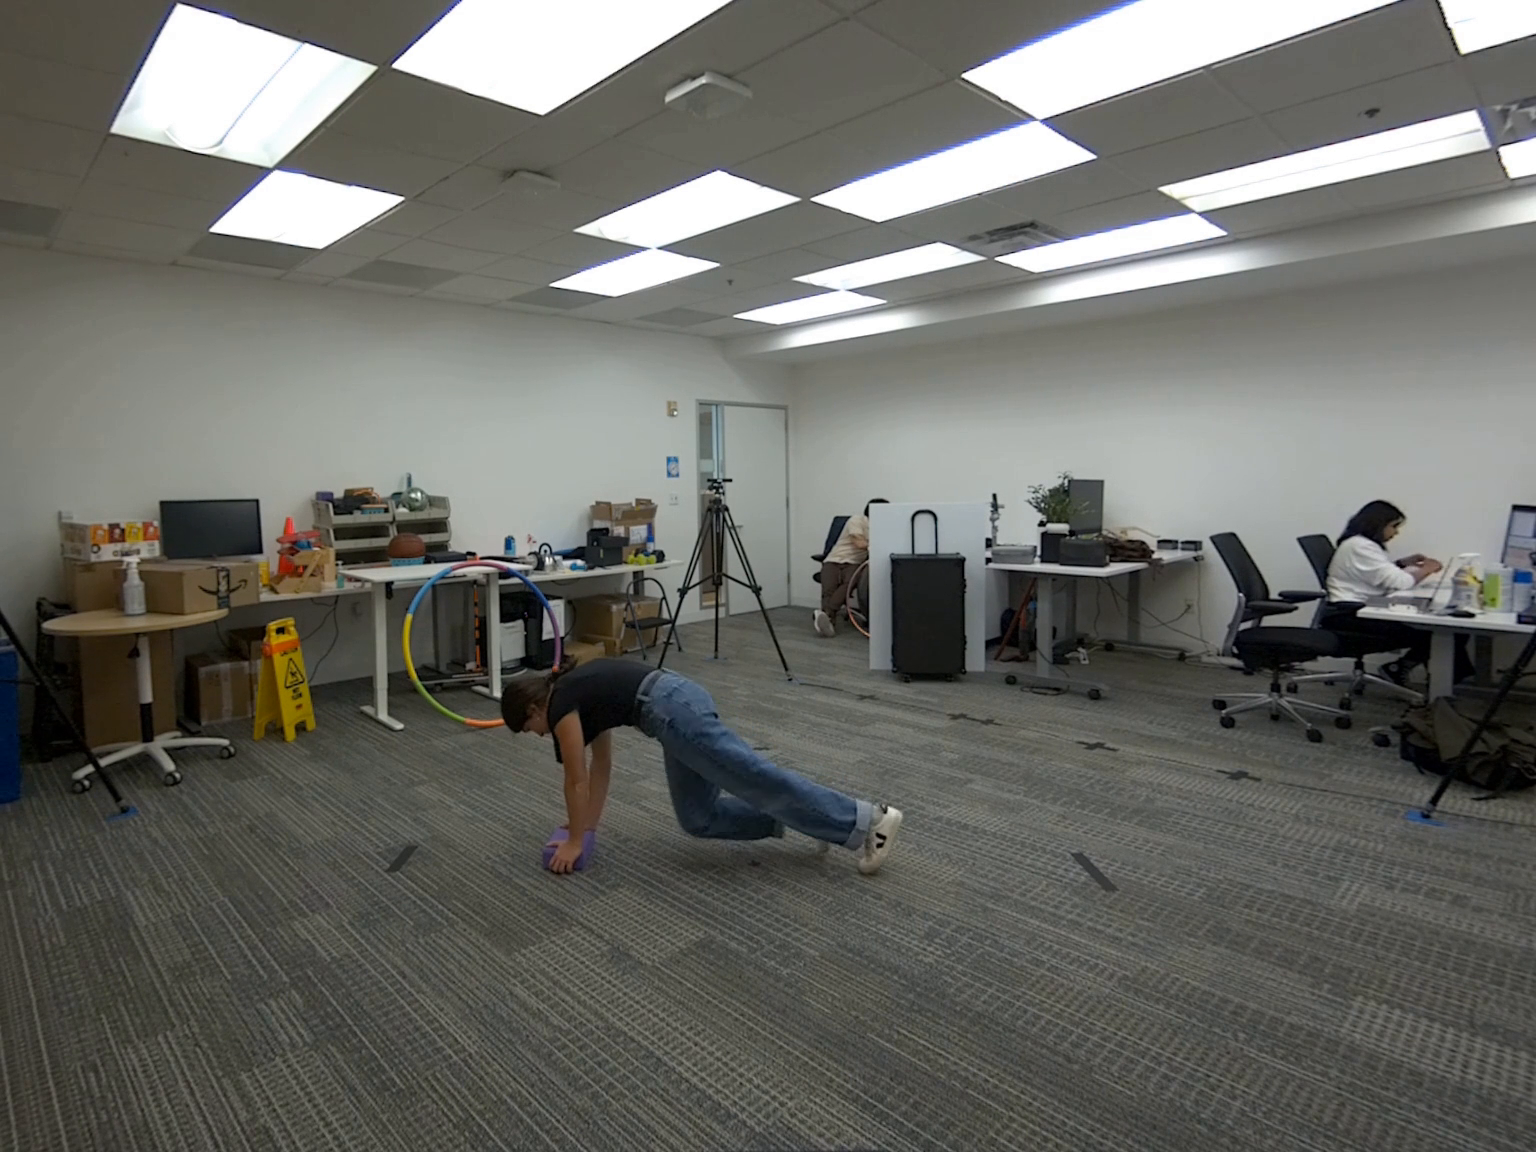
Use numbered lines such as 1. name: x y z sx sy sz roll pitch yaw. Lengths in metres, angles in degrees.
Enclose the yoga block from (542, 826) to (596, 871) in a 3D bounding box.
1. yoga block: -0.742 1.013 3.198 0.149 0.076 0.230 1 6 0
